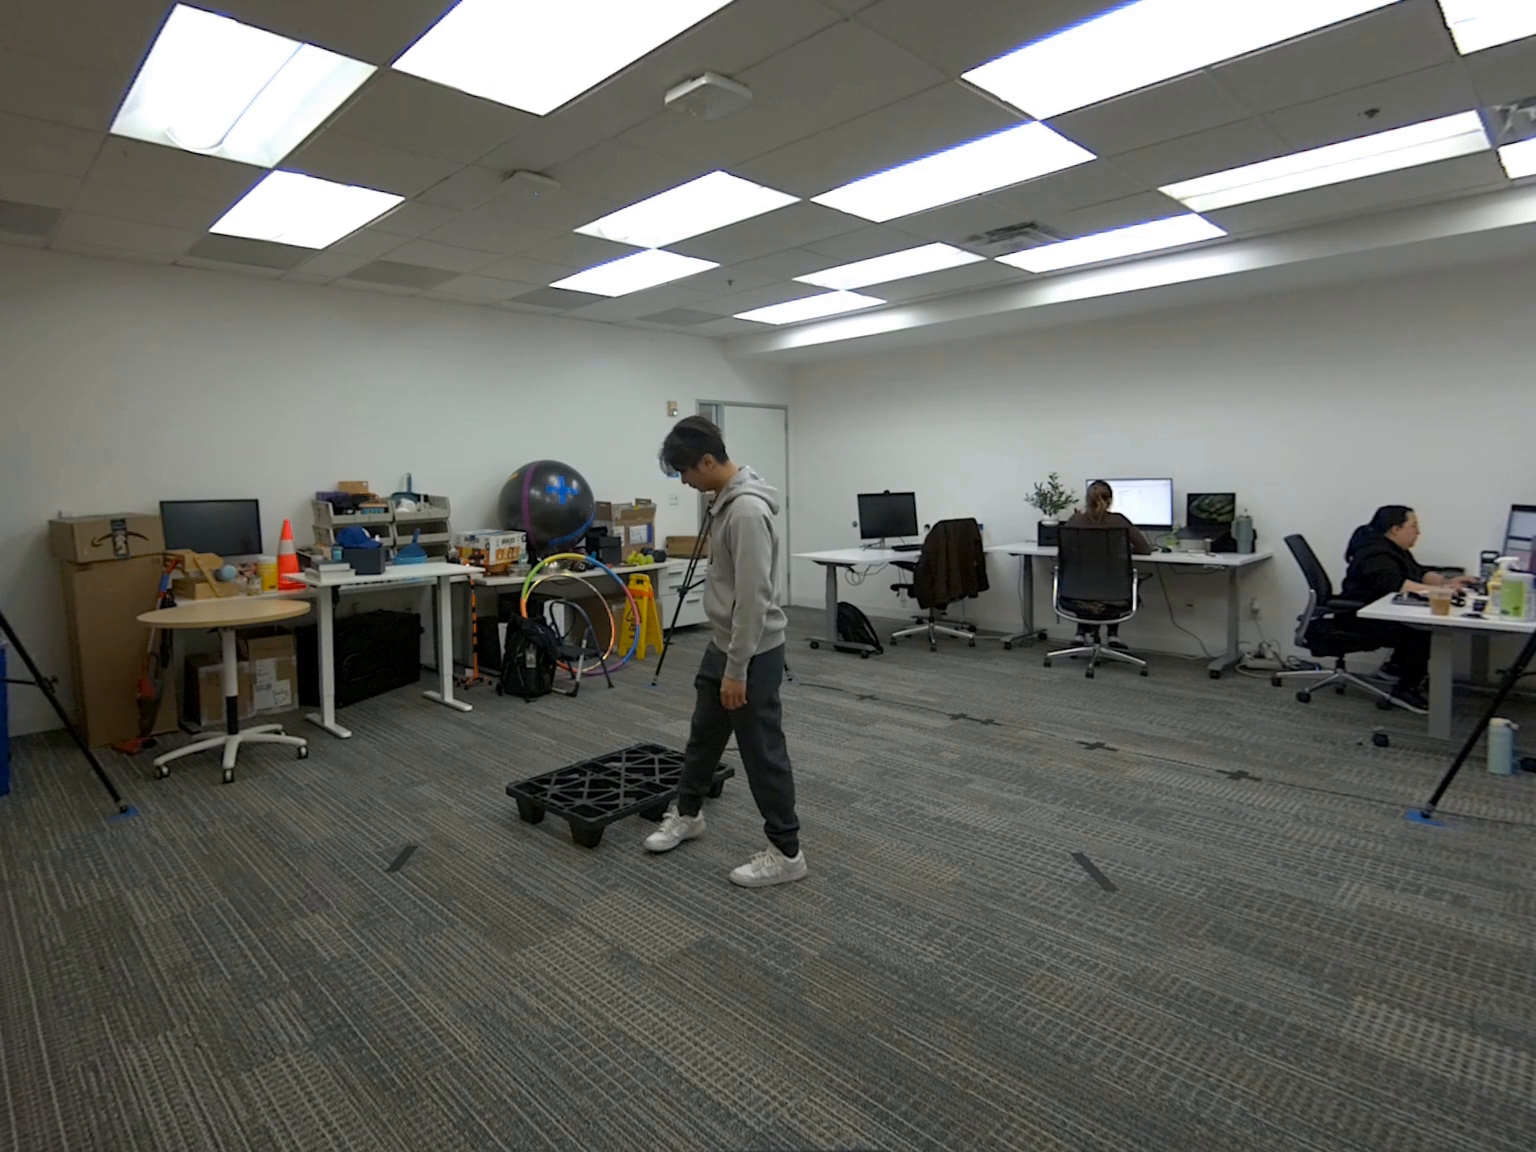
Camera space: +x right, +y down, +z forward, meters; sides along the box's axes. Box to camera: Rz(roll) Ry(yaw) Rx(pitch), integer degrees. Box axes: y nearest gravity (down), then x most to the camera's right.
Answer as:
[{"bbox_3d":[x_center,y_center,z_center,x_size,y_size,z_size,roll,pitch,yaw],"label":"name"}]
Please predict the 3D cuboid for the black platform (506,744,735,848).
[{"bbox_3d":[-0.614,0.925,3.670,0.624,0.142,0.785,5,9,41],"label":"black platform"}]
